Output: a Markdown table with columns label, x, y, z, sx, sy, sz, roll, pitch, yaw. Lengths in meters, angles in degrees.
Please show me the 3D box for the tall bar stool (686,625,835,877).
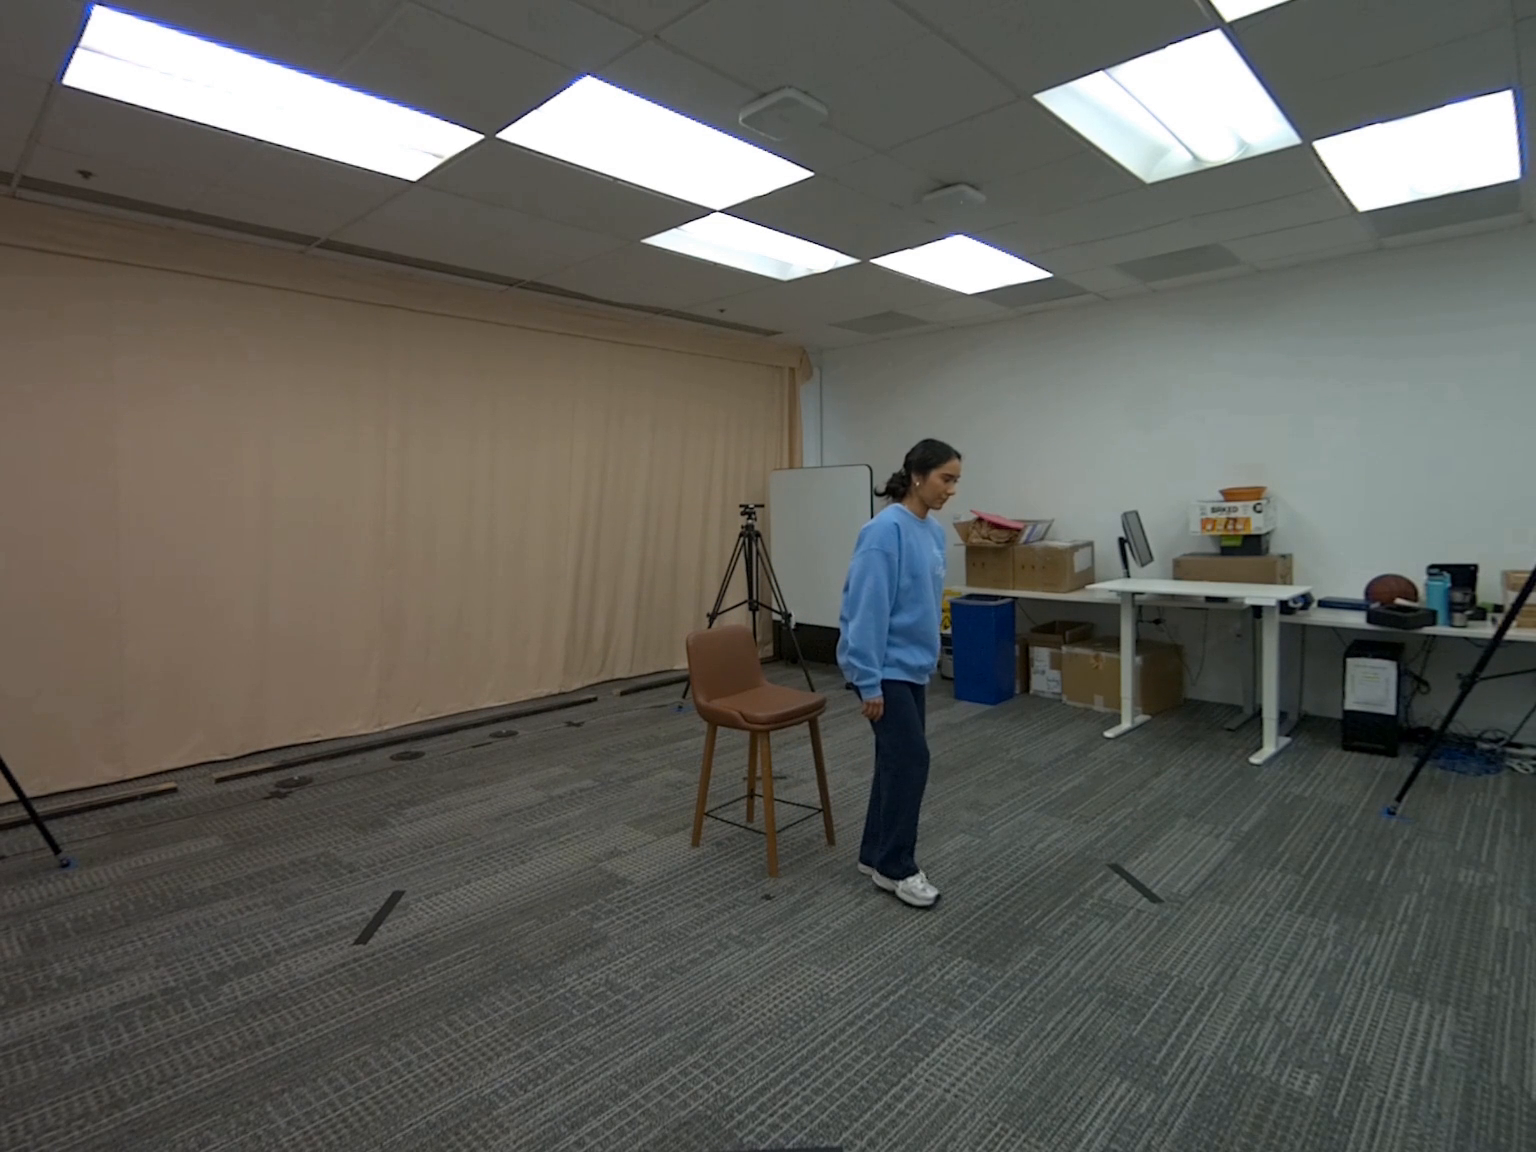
| label | x | y | z | sx | sy | sz | roll | pitch | yaw |
| --- | --- | --- | --- | --- | --- | --- | --- | --- | --- |
| tall bar stool | -0.035 | 0.667 | 3.421 | 0.482 | 0.889 | 0.443 | -1 | 2 | 41 |
